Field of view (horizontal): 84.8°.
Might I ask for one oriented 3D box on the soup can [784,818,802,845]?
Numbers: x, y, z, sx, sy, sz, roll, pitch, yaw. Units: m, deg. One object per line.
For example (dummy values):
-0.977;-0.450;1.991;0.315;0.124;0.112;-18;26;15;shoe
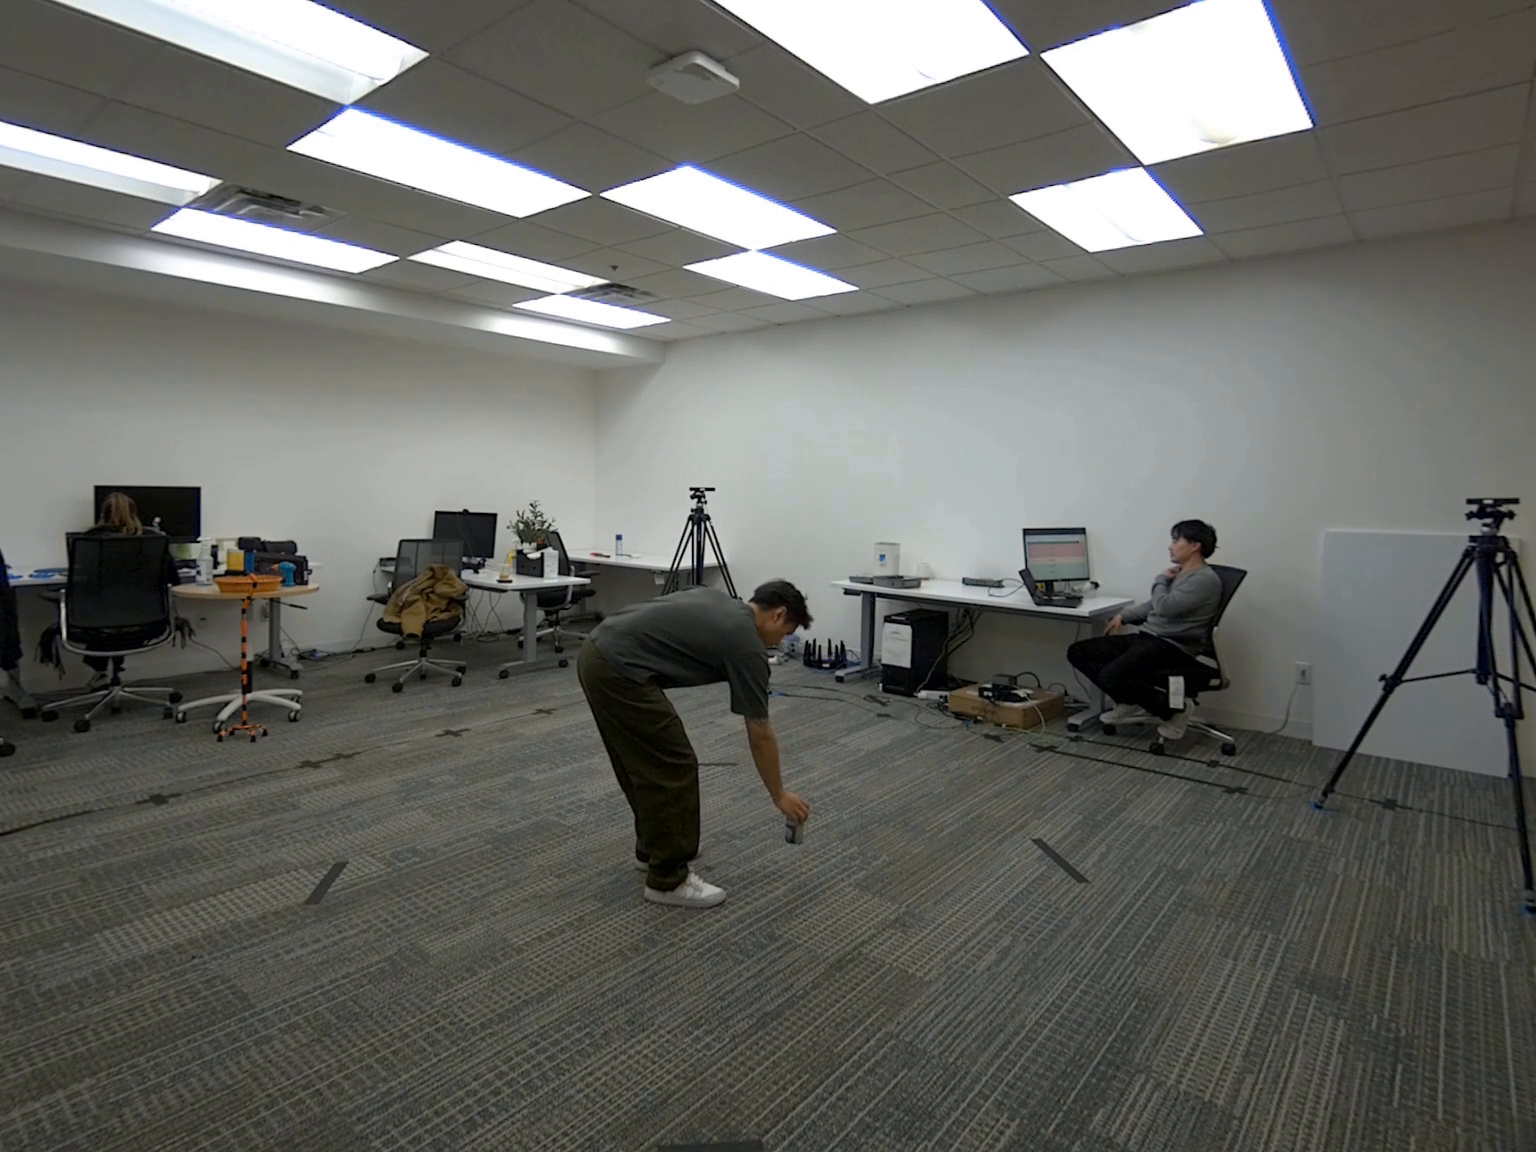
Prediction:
0.090;0.892;3.037;0.067;0.121;0.067;3;4;-2;soup can
